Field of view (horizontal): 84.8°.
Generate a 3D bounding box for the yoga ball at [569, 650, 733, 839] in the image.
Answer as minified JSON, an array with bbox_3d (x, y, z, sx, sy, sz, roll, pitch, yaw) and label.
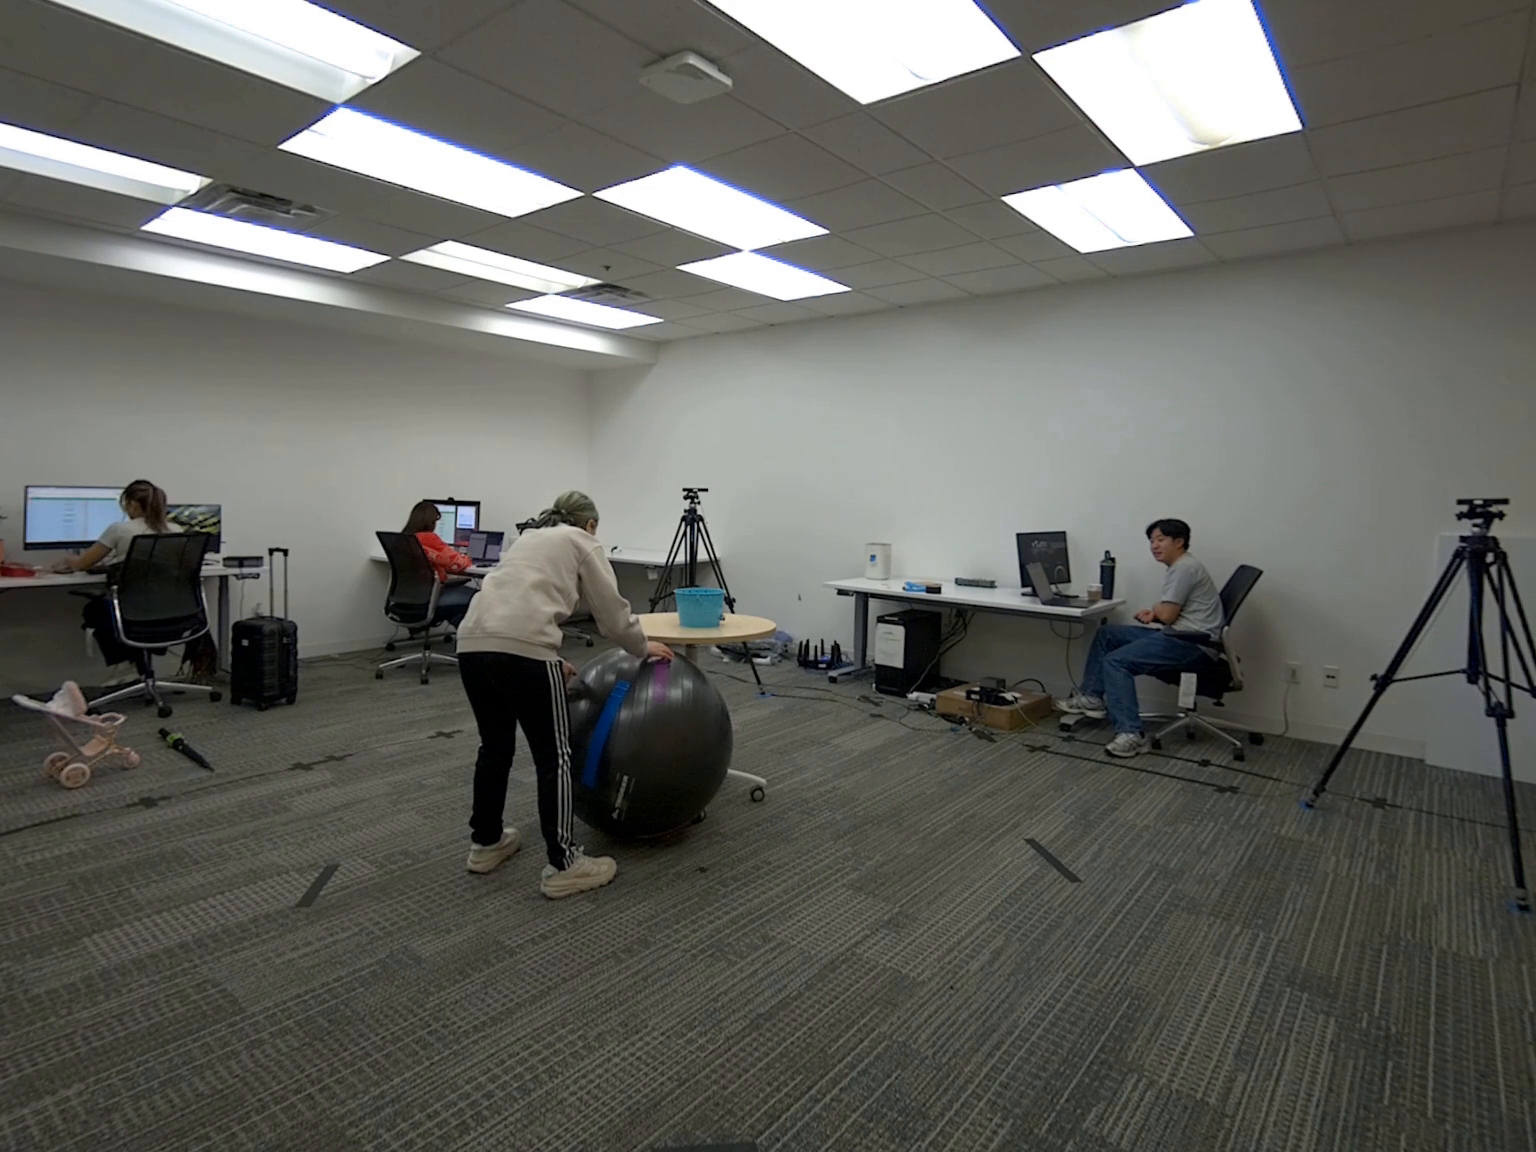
[{"bbox_3d":[-0.532,0.660,3.437,0.757,0.756,0.761,1,4,-2],"label":"yoga ball"}]
